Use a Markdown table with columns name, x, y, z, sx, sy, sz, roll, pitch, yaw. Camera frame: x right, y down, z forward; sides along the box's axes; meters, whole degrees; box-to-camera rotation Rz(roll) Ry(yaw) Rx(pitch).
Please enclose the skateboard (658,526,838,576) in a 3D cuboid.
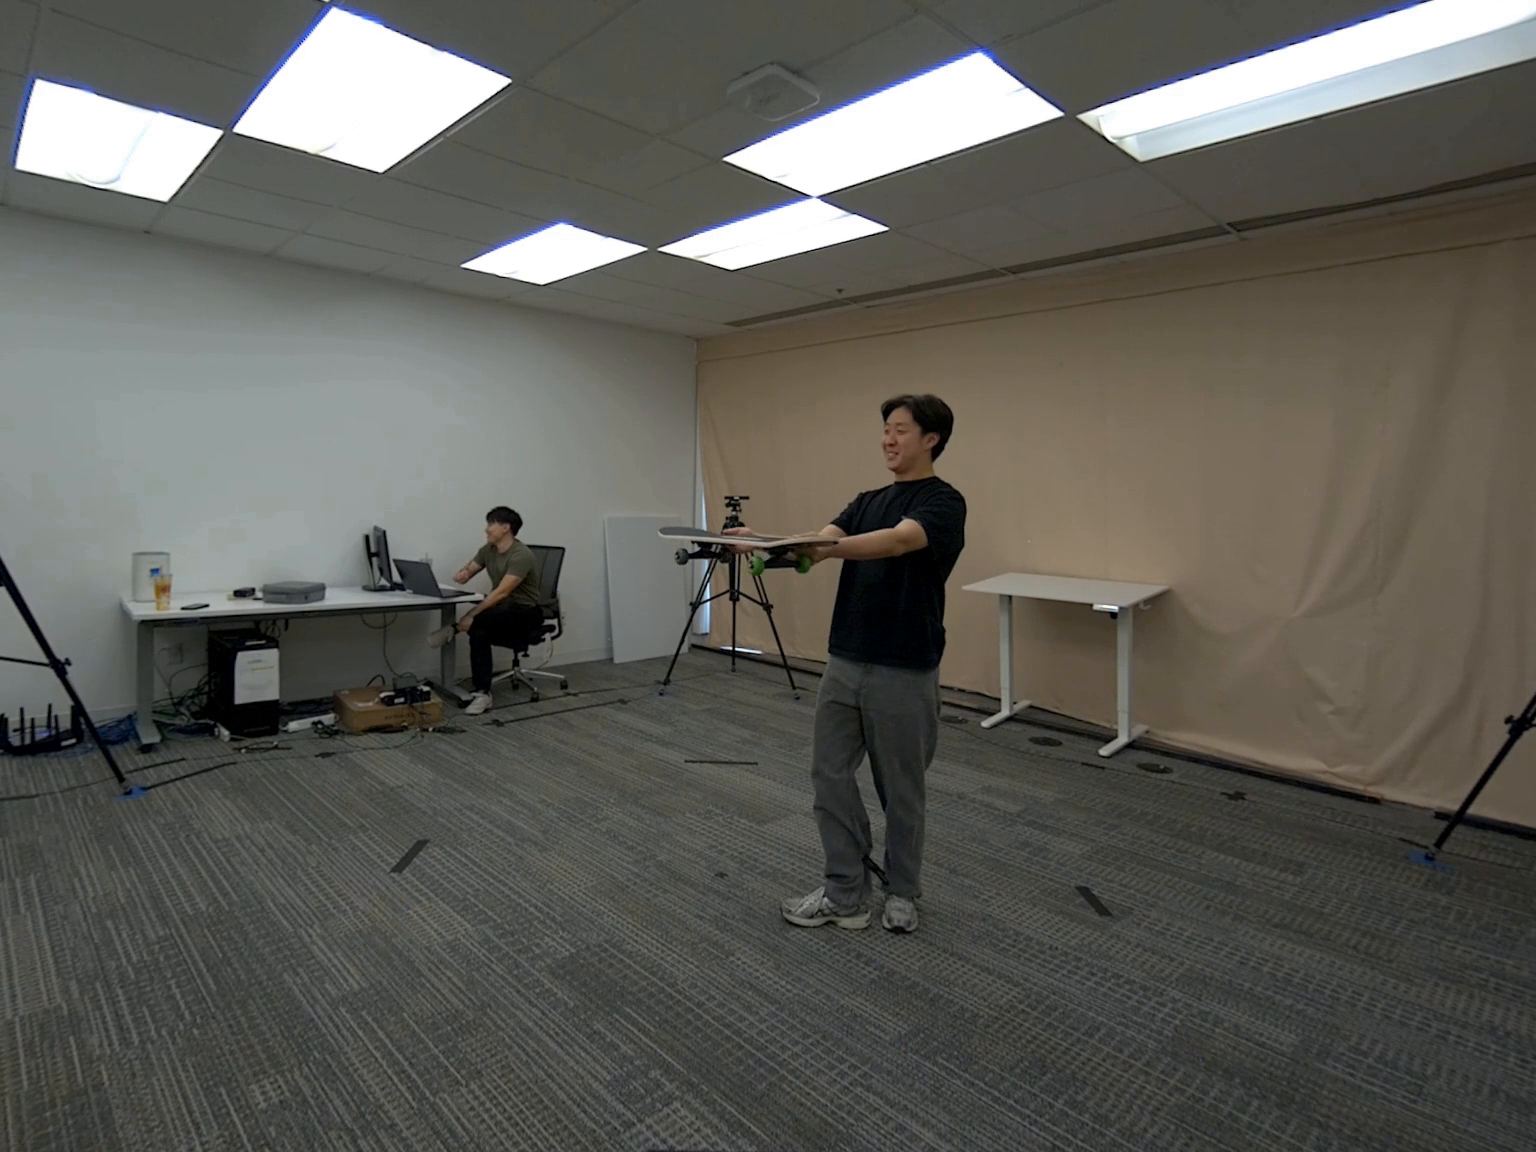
| name | x | y | z | sx | sy | sz | roll | pitch | yaw |
| --- | --- | --- | --- | --- | --- | --- | --- | --- | --- |
| skateboard | -0.082 | -0.076 | 2.411 | 0.189 | 0.110 | 0.804 | -3 | 6 | -35 |
